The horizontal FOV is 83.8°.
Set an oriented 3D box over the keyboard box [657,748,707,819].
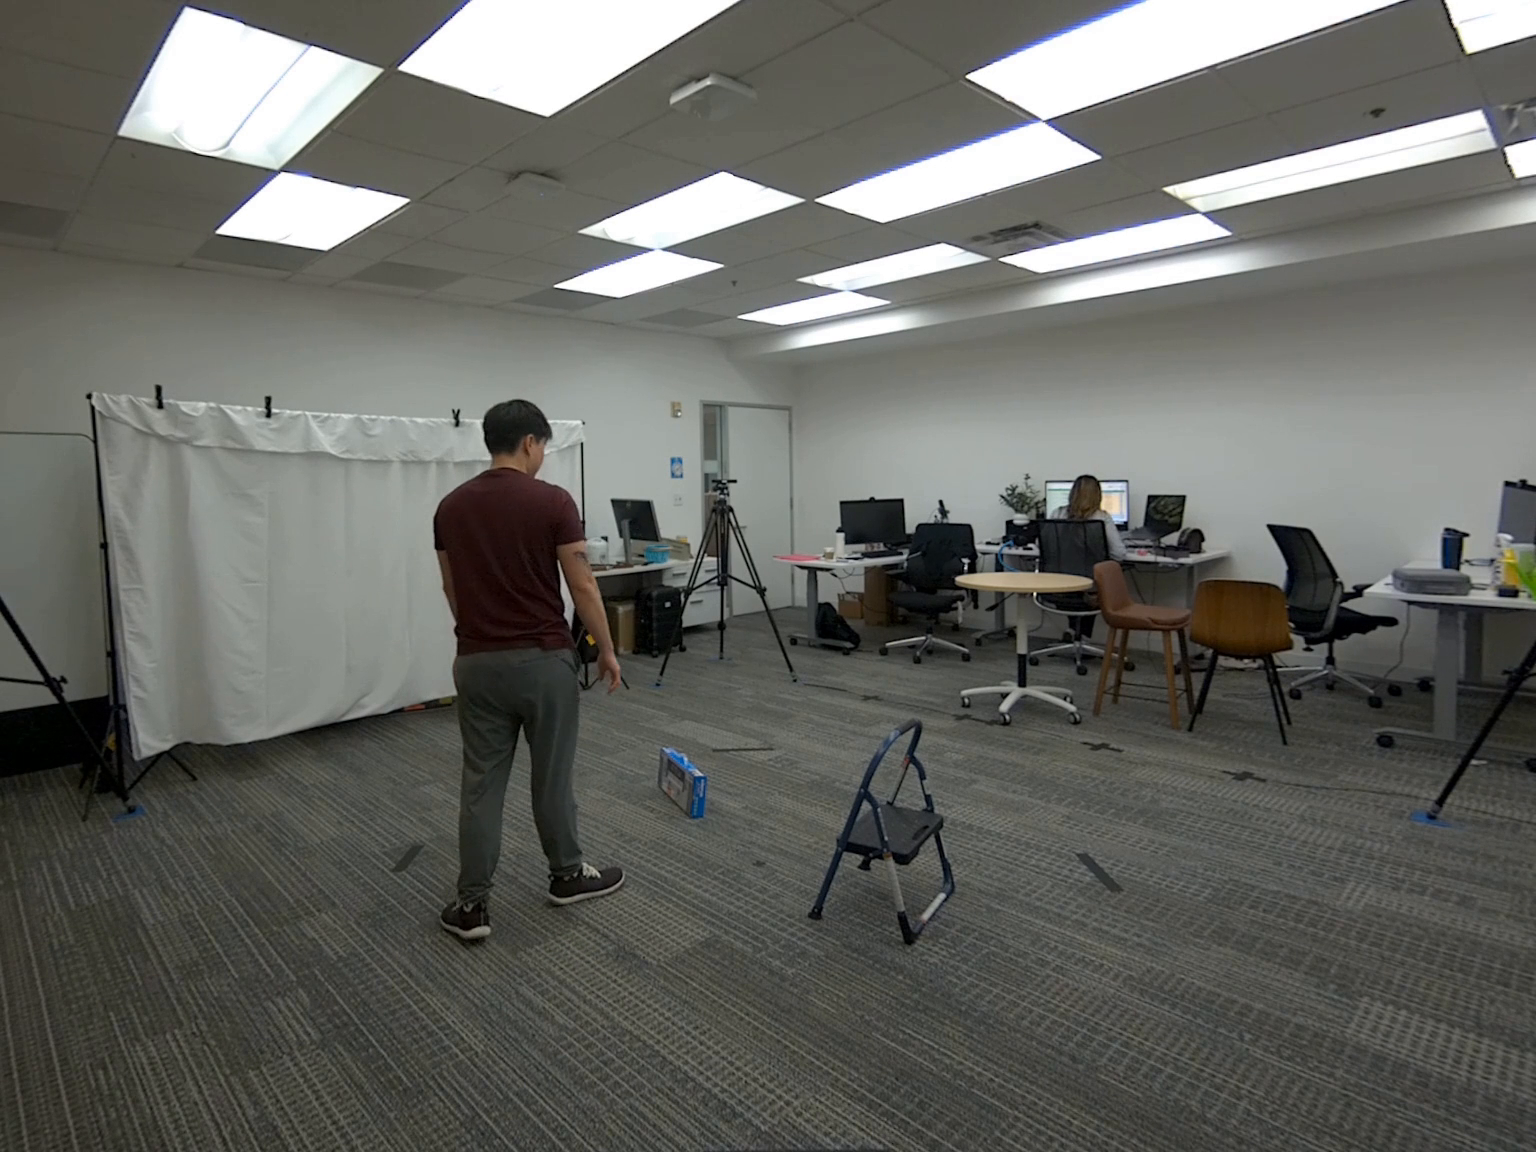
[{"bbox_3d":[-0.378,0.897,3.737,0.058,0.176,0.447,5,3,-25],"label":"keyboard box"}]
